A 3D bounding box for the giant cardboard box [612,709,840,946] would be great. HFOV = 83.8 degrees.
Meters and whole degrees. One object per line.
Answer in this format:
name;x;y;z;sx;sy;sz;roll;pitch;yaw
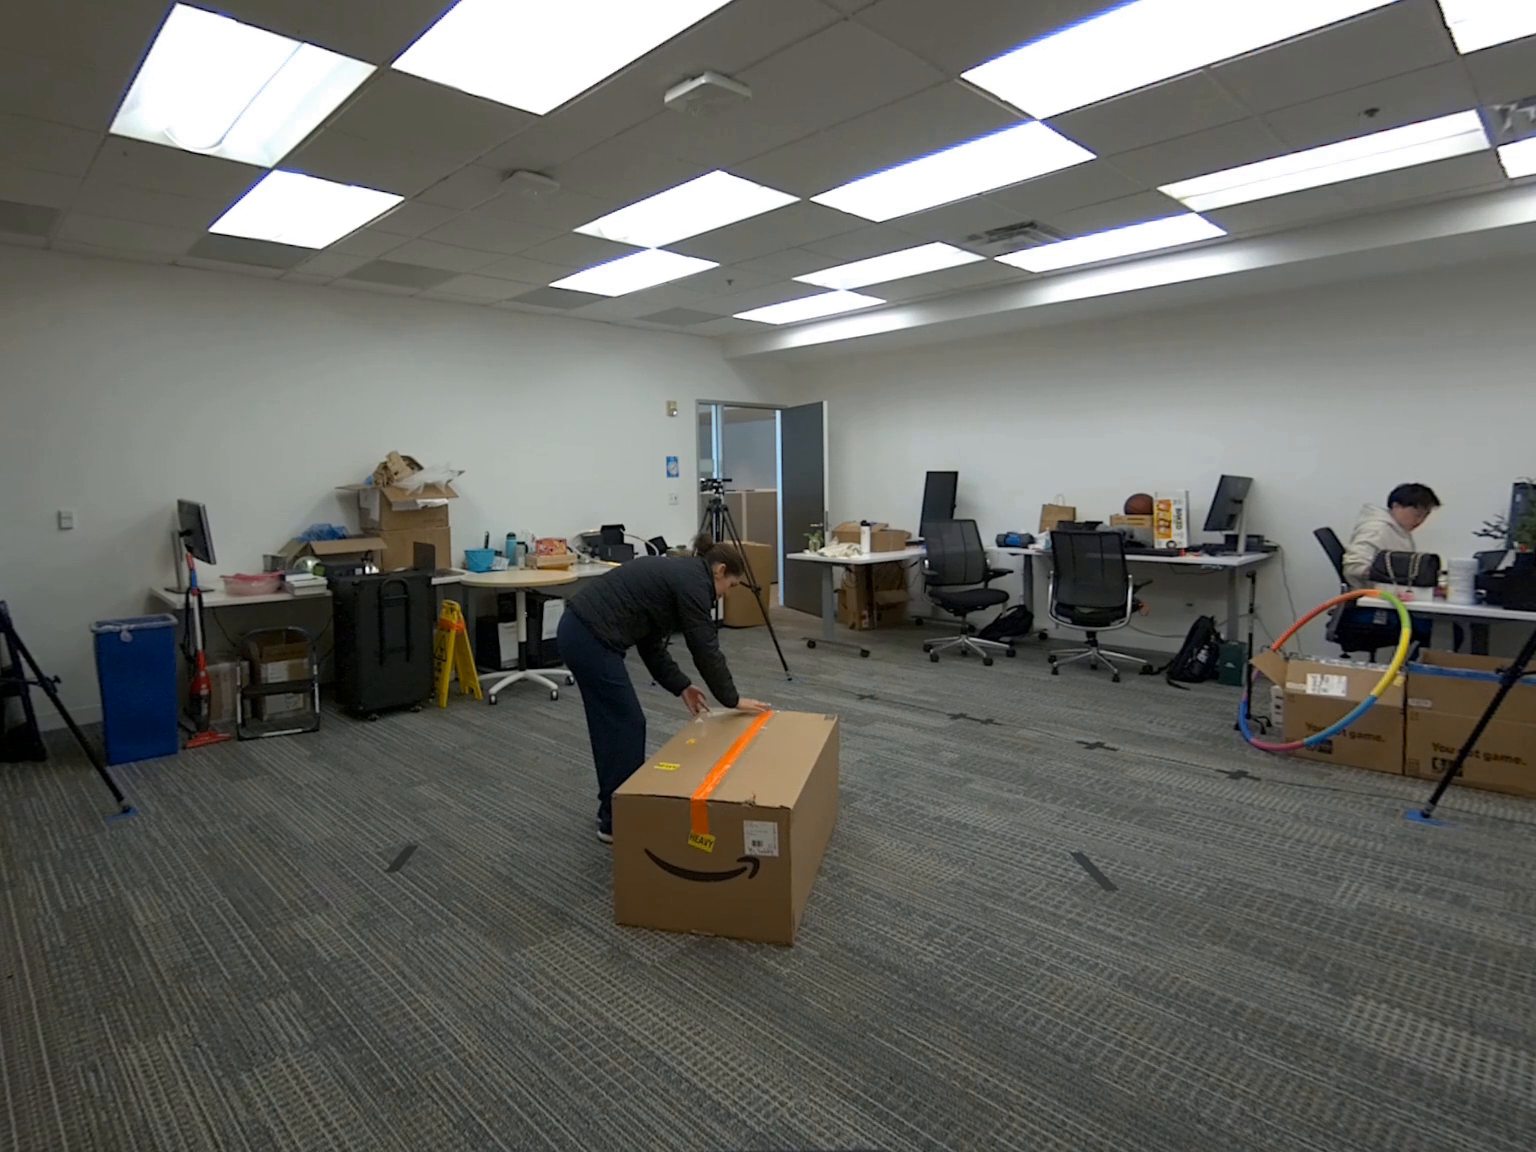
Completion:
giant cardboard box;-0.104;0.825;3.110;0.585;0.424;1.017;0;6;13
